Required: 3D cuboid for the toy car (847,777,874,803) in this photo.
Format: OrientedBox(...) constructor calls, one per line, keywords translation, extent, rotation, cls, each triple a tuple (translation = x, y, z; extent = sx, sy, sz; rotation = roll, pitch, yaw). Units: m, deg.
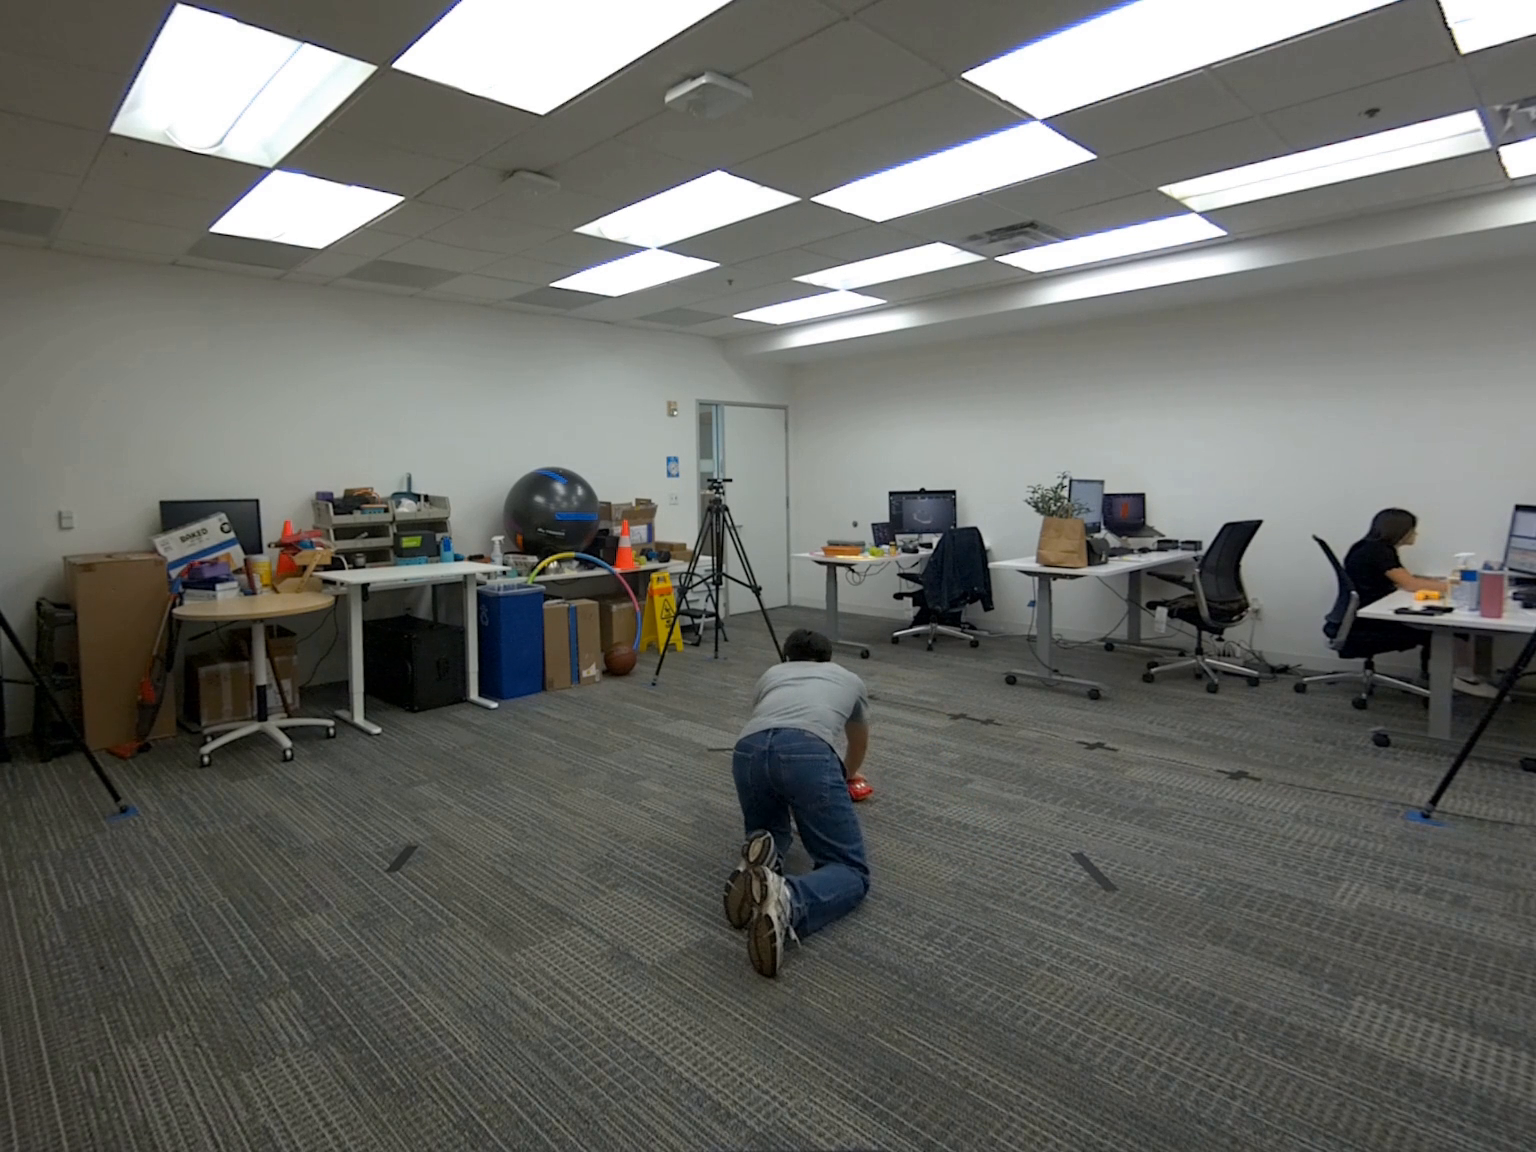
OrientedBox(translation=(0.361, 0.935, 3.756), extent=(0.127, 0.083, 0.260), rotation=(-5, -2, -39), cls="toy car")
